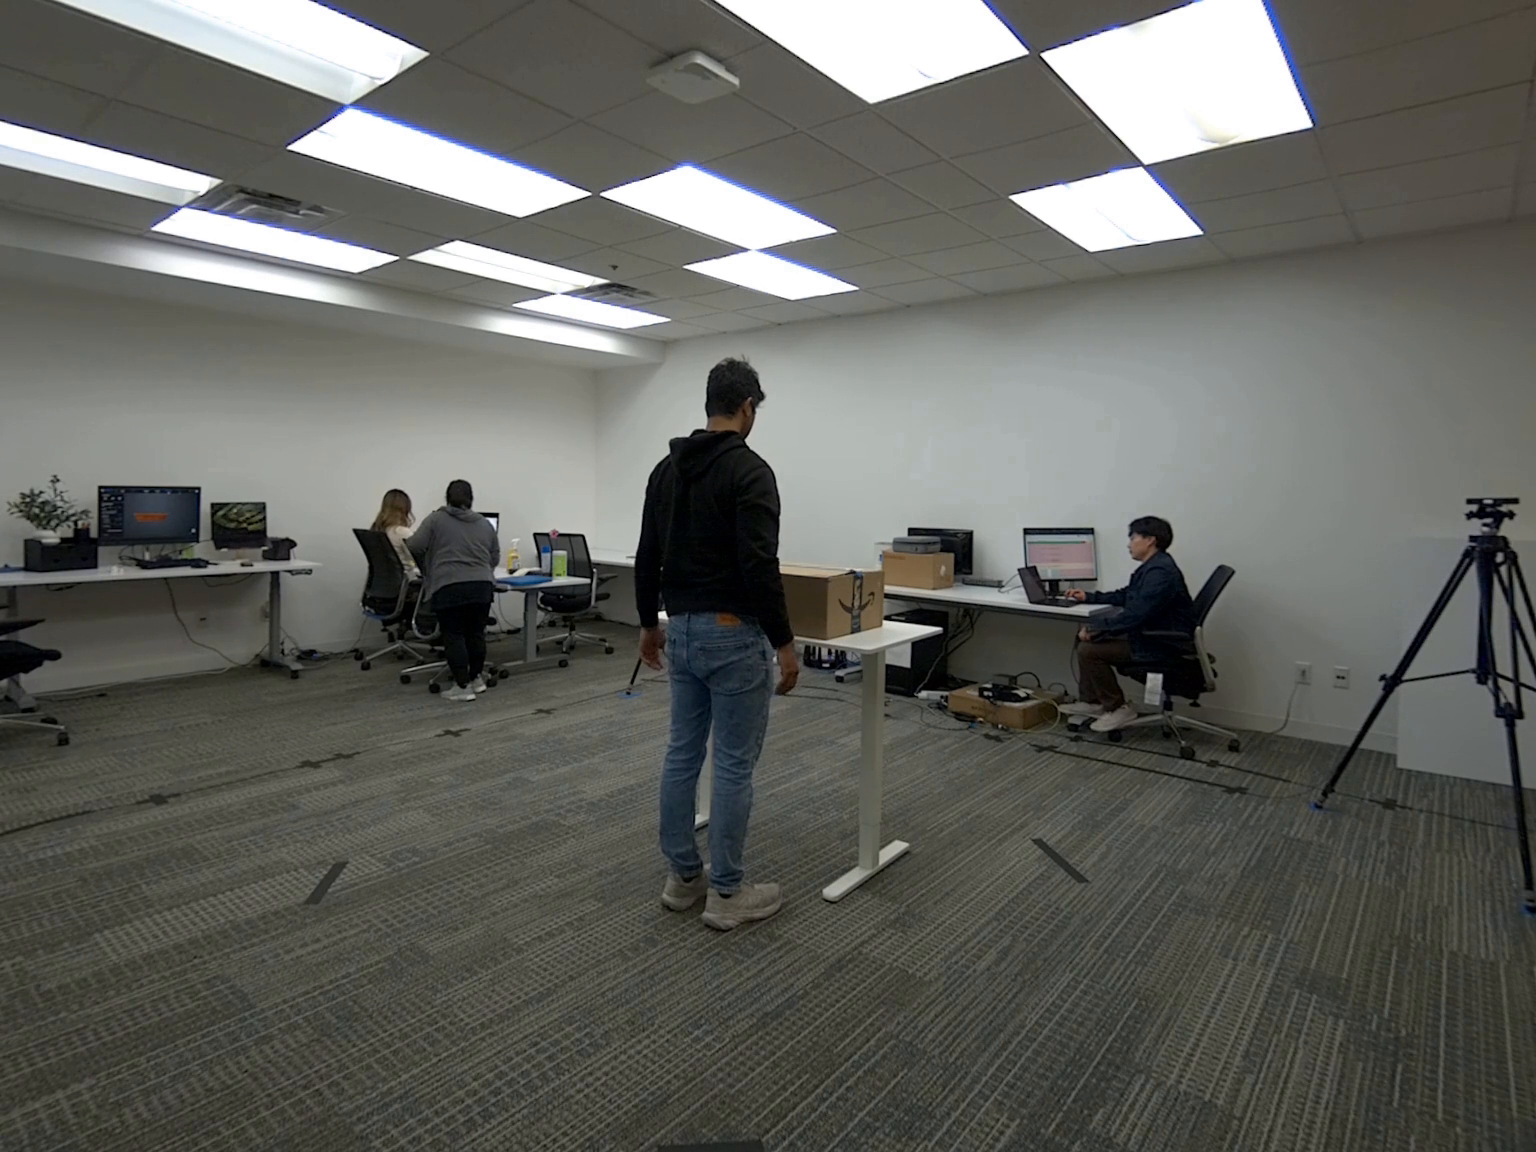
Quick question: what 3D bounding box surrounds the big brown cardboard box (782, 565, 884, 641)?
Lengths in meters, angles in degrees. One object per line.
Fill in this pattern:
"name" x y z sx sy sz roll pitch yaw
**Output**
"big brown cardboard box" 0.078 0.071 3.206 0.608 0.232 0.406 4 6 36
